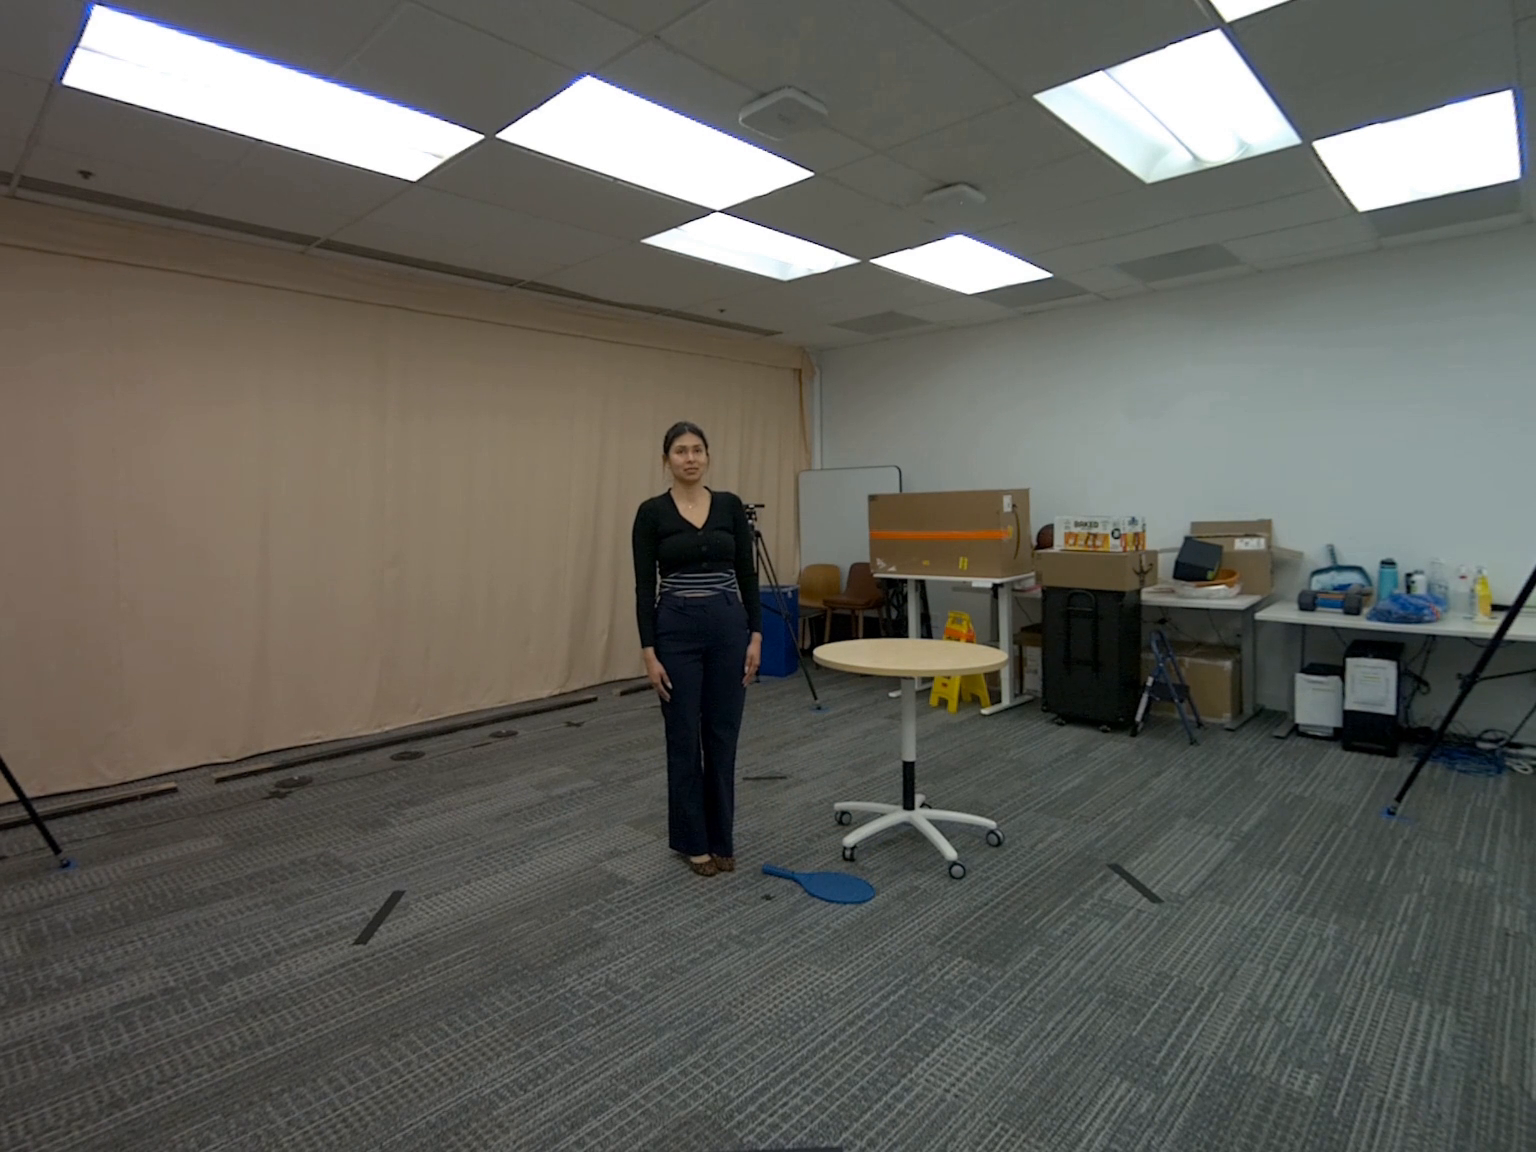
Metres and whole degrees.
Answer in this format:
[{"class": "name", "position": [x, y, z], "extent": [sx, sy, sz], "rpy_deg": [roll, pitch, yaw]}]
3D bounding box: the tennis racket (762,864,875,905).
[{"class": "tennis racket", "position": [0.183, 1.112, 3.073], "extent": [0.445, 0.032, 0.208], "rpy_deg": [3, 6, 27]}]
